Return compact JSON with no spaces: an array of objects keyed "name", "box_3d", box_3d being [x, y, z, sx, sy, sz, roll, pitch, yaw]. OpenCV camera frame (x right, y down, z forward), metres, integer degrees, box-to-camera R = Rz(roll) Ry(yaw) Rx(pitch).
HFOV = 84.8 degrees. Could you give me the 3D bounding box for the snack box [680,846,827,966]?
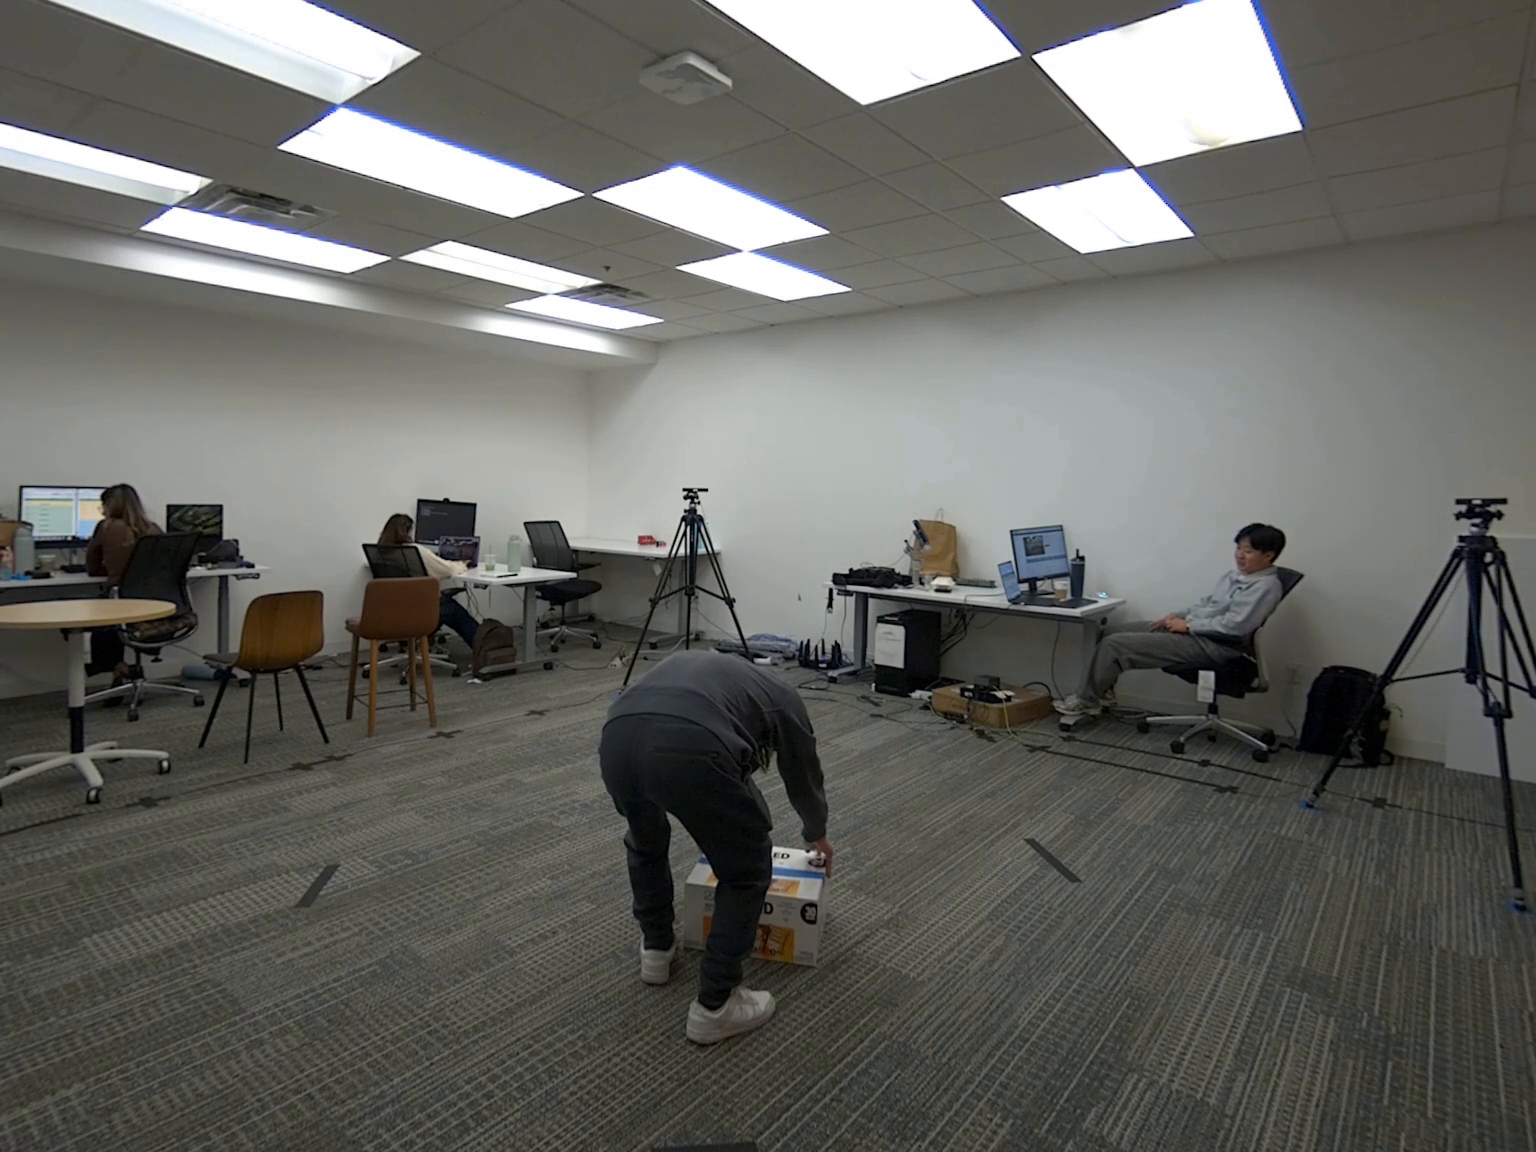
[{"name":"snack box","box_3d":[-0.033,1.015,2.680,0.411,0.205,0.337,3,5,12]}]
